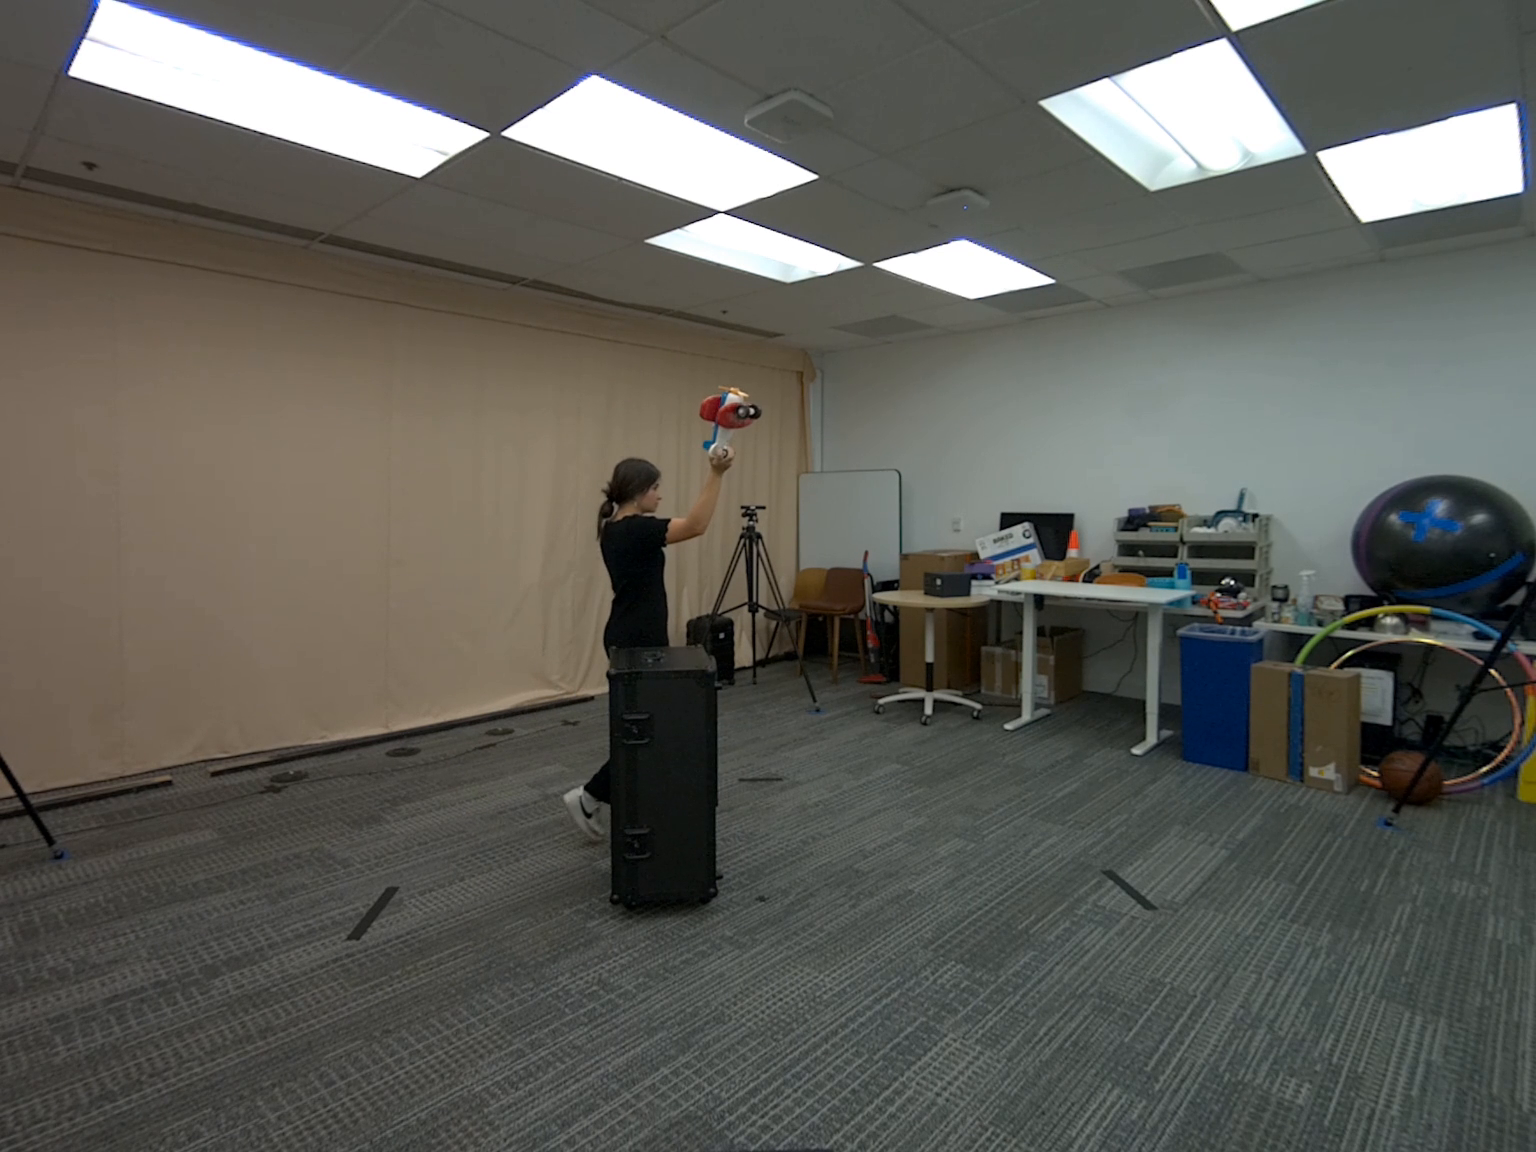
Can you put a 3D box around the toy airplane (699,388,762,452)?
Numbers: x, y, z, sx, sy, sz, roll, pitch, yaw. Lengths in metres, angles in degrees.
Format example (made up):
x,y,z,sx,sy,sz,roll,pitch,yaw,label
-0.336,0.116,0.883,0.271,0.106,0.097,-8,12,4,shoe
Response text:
x,y,z,sx,sy,sz,roll,pitch,yaw,label
-0.155,-0.562,3.104,0.160,0.259,0.245,41,-3,18,toy airplane
